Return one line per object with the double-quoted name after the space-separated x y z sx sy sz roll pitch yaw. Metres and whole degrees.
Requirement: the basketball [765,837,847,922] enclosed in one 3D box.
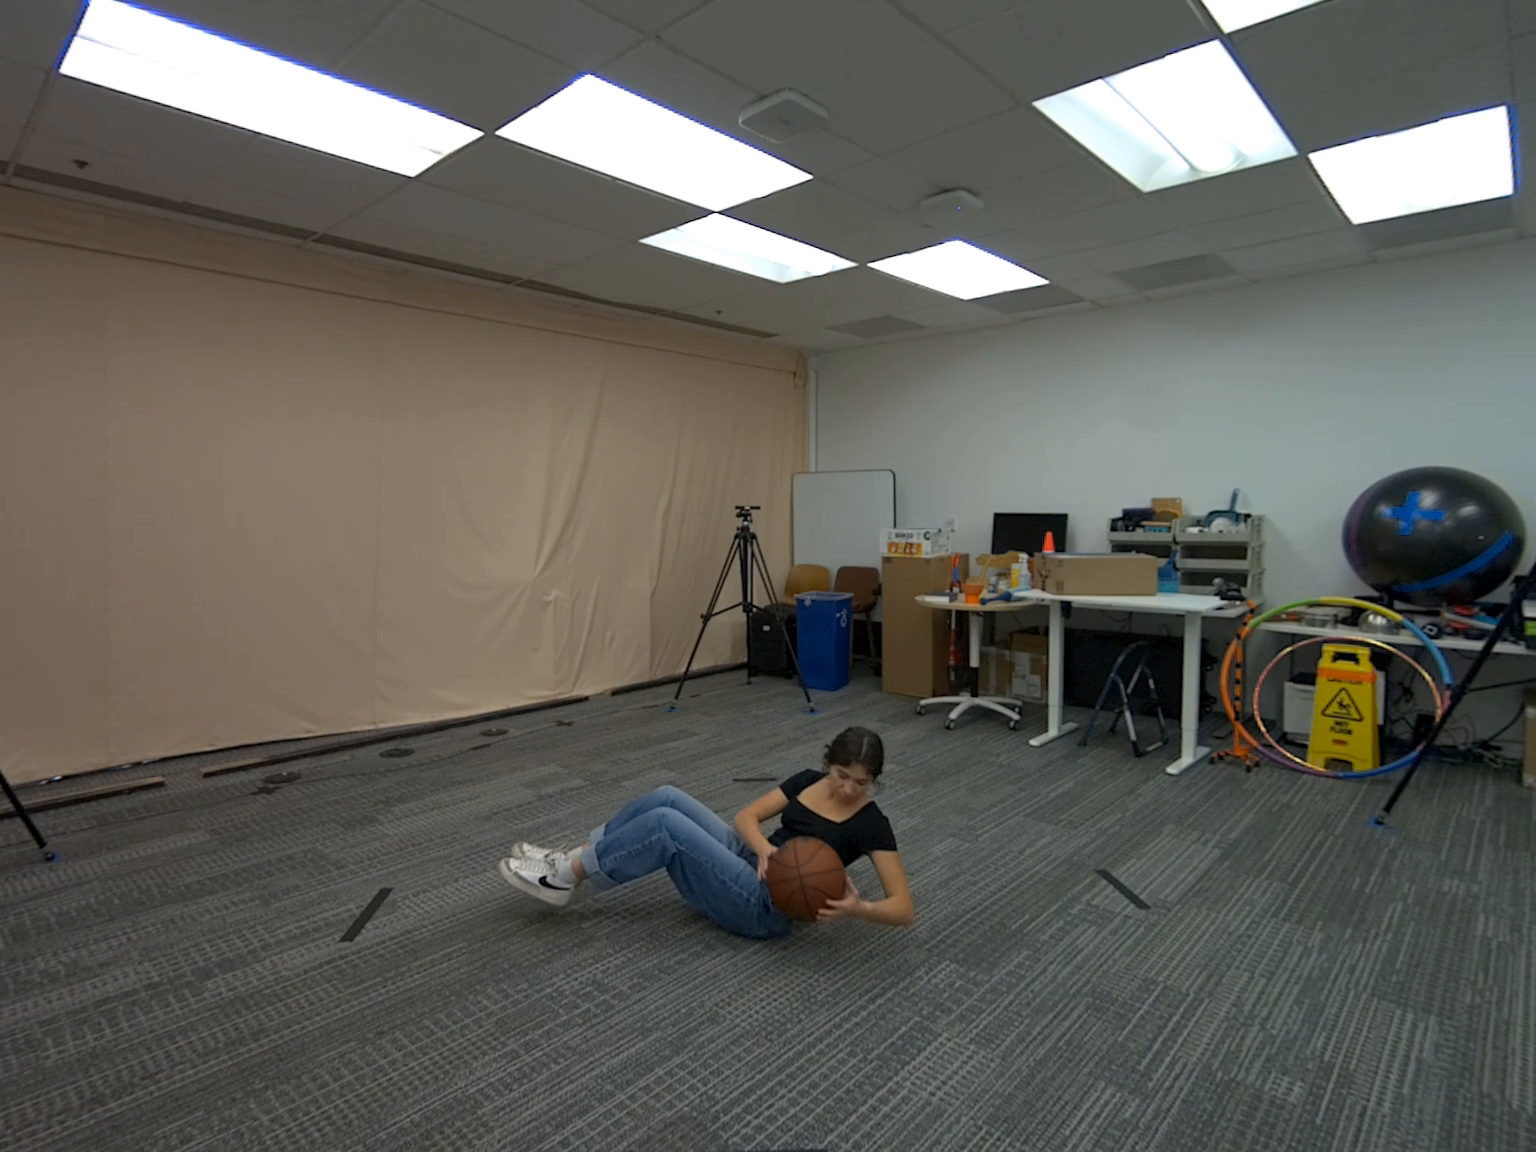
0.112 0.906 2.541 0.236 0.235 0.237 0 4 -2 "basketball"
